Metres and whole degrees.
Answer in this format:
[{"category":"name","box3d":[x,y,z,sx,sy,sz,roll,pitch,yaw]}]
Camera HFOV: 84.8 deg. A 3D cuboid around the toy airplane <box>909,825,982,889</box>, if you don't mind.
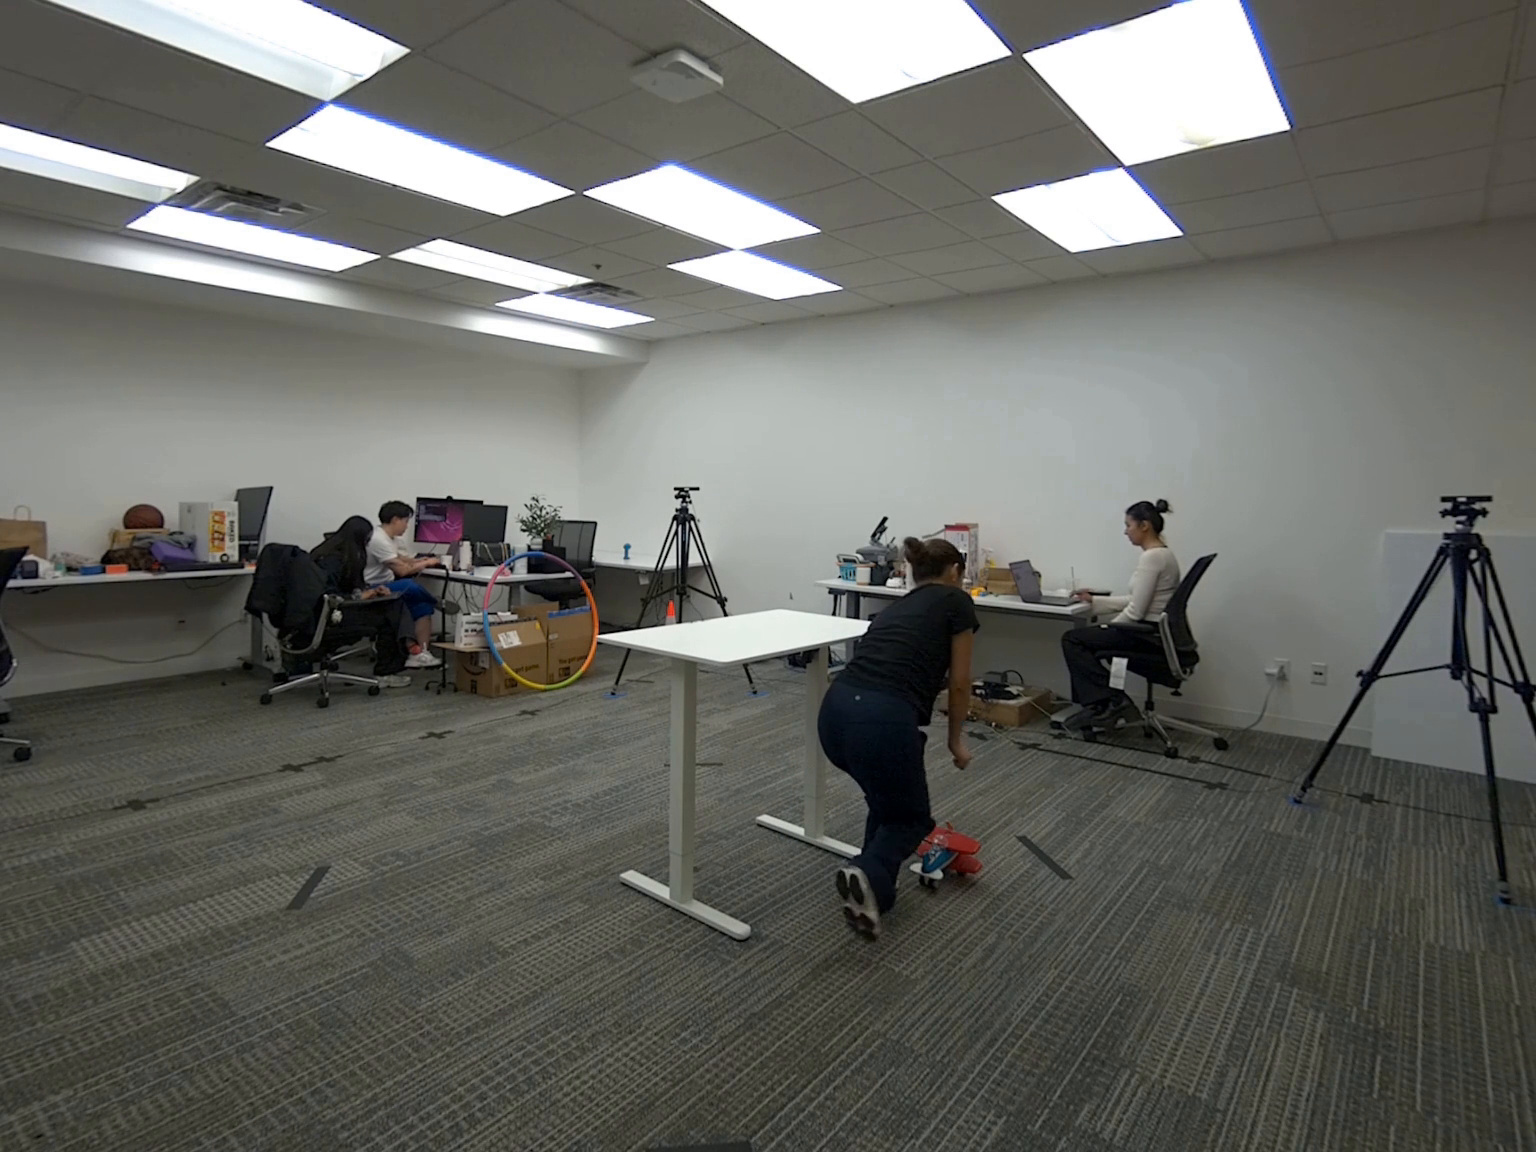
[{"category":"toy airplane","box3d":[0.663,1.014,3.063,0.255,0.156,0.256,3,4,14]}]
